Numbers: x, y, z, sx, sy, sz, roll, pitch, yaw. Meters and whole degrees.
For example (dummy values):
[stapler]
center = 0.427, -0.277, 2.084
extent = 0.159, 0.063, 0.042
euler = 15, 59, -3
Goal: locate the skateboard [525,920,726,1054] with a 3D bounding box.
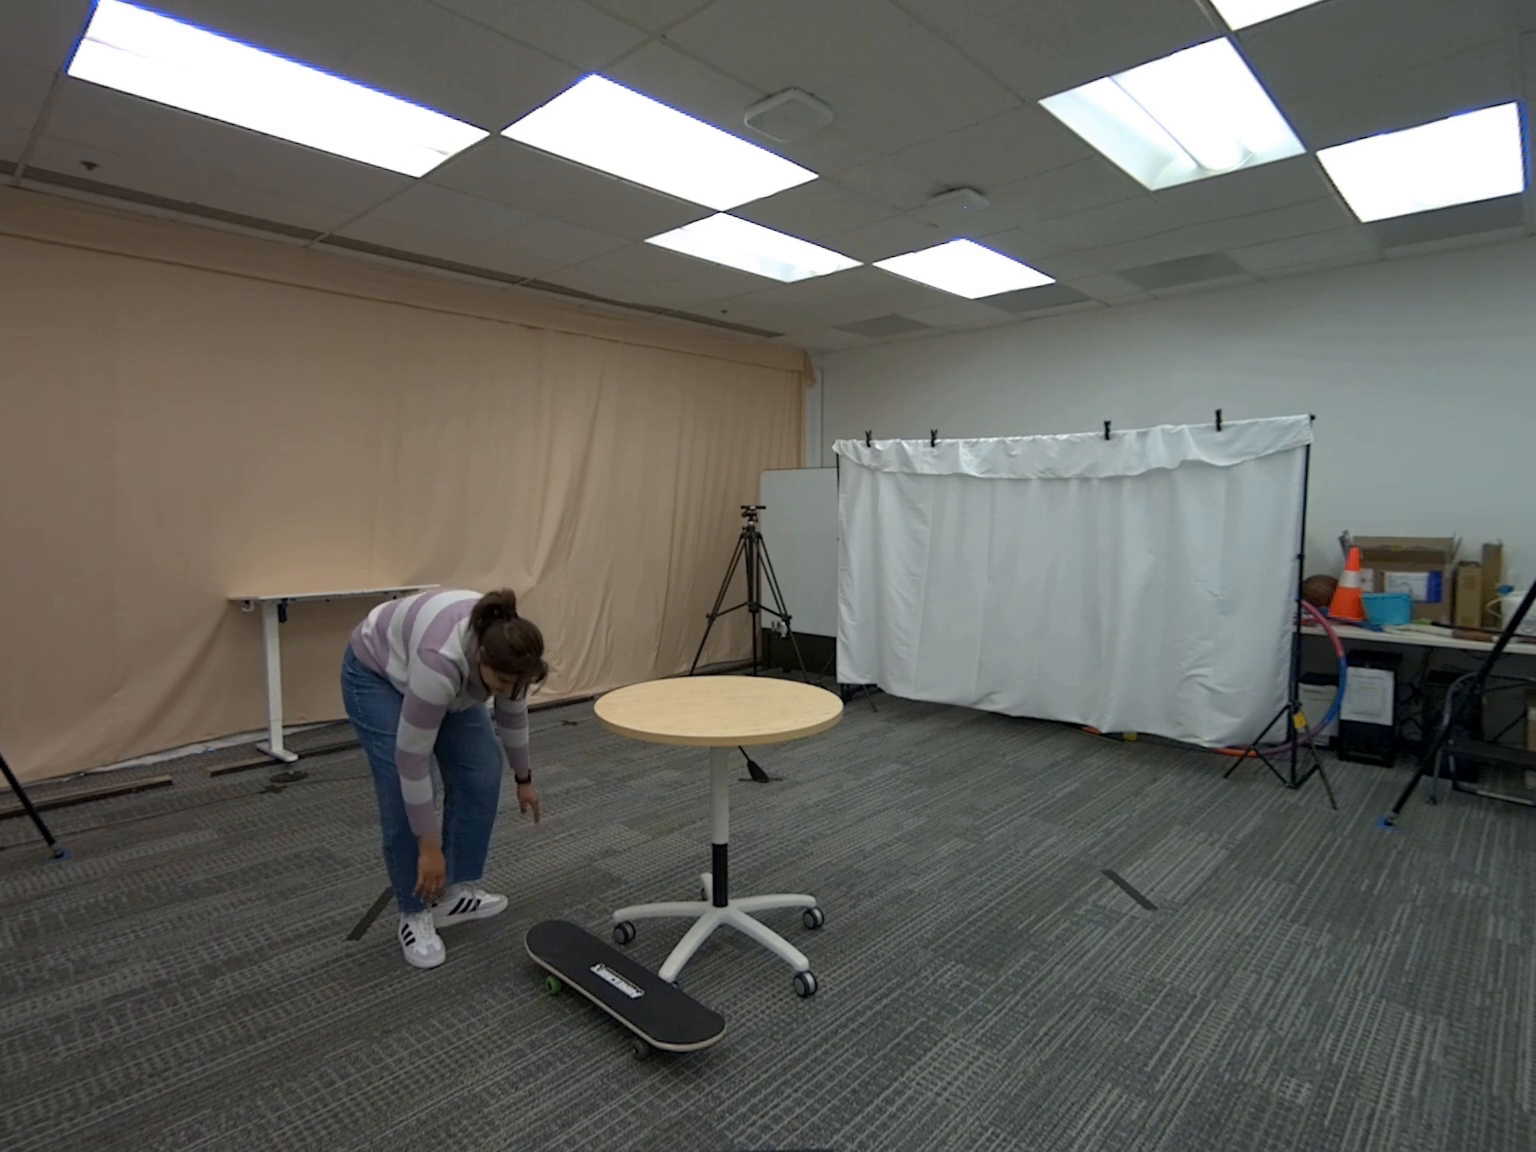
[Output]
[skateboard]
center = -0.410, 1.143, 2.319
extent = 0.812, 0.110, 0.187
euler = 4, 6, 44
